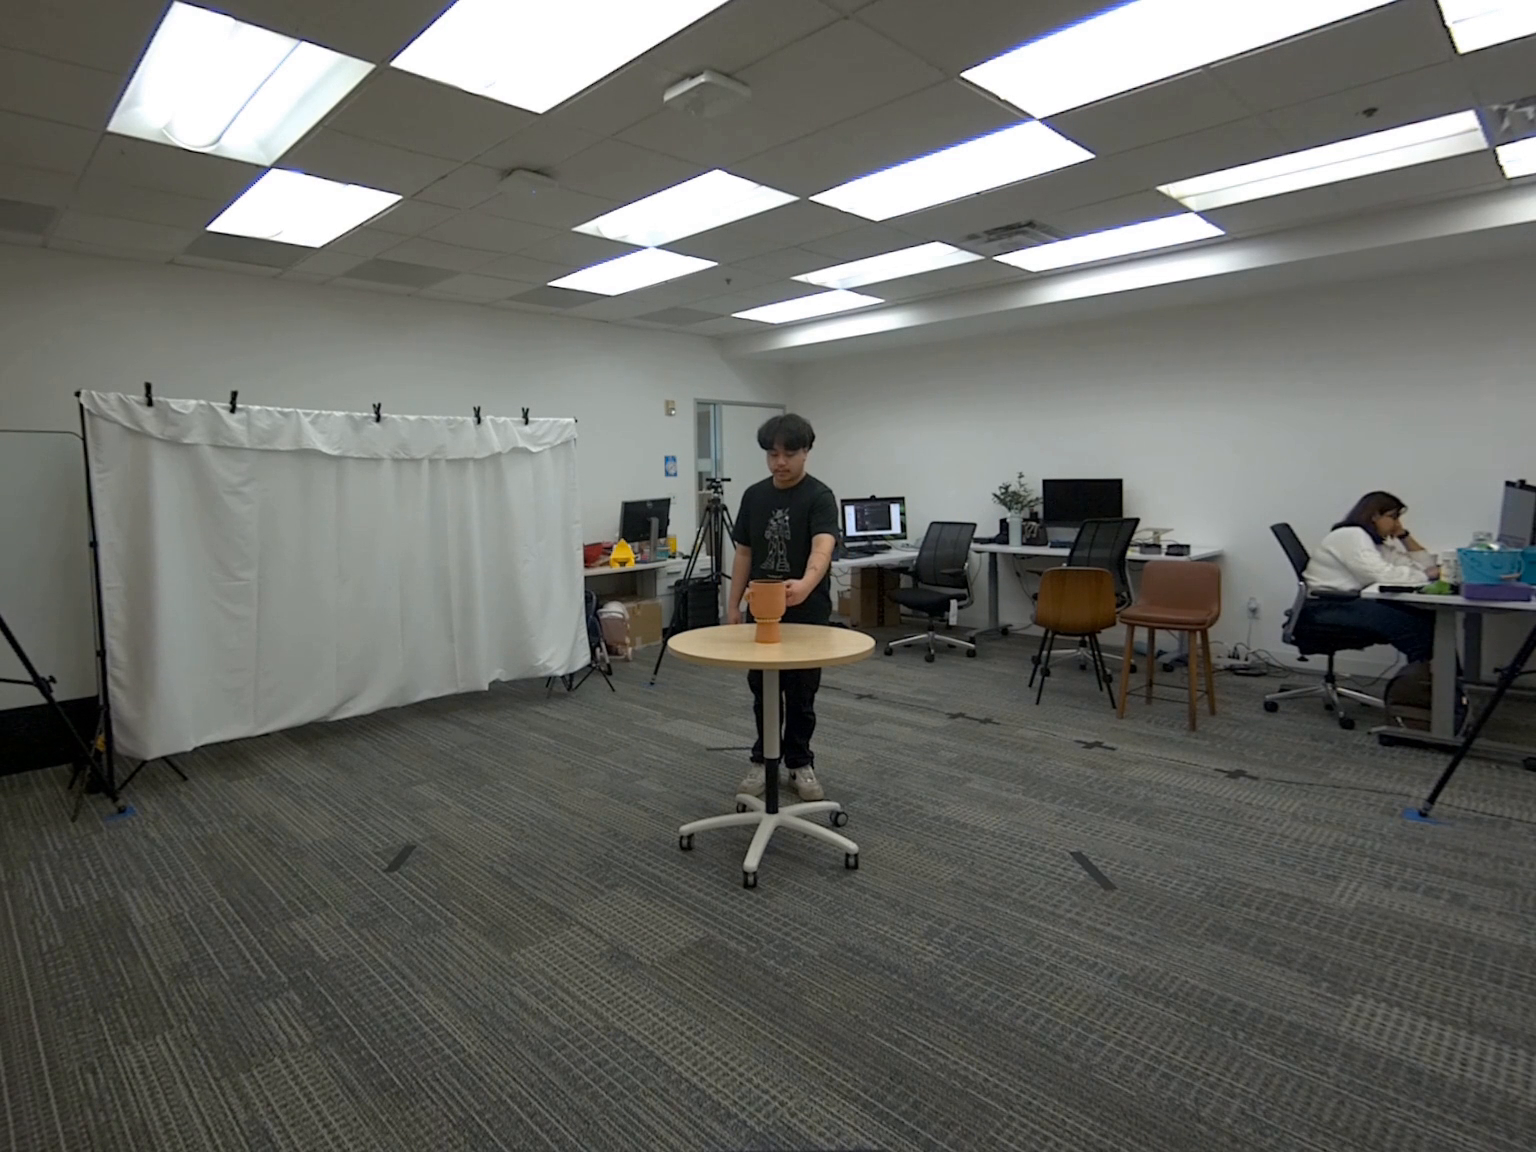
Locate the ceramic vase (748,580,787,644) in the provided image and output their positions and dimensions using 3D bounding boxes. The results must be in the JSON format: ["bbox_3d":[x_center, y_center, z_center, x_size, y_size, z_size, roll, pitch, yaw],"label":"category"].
[{"bbox_3d":[-0.002,0.135,3.161,0.160,0.219,0.134,0,4,6],"label":"ceramic vase"}]
